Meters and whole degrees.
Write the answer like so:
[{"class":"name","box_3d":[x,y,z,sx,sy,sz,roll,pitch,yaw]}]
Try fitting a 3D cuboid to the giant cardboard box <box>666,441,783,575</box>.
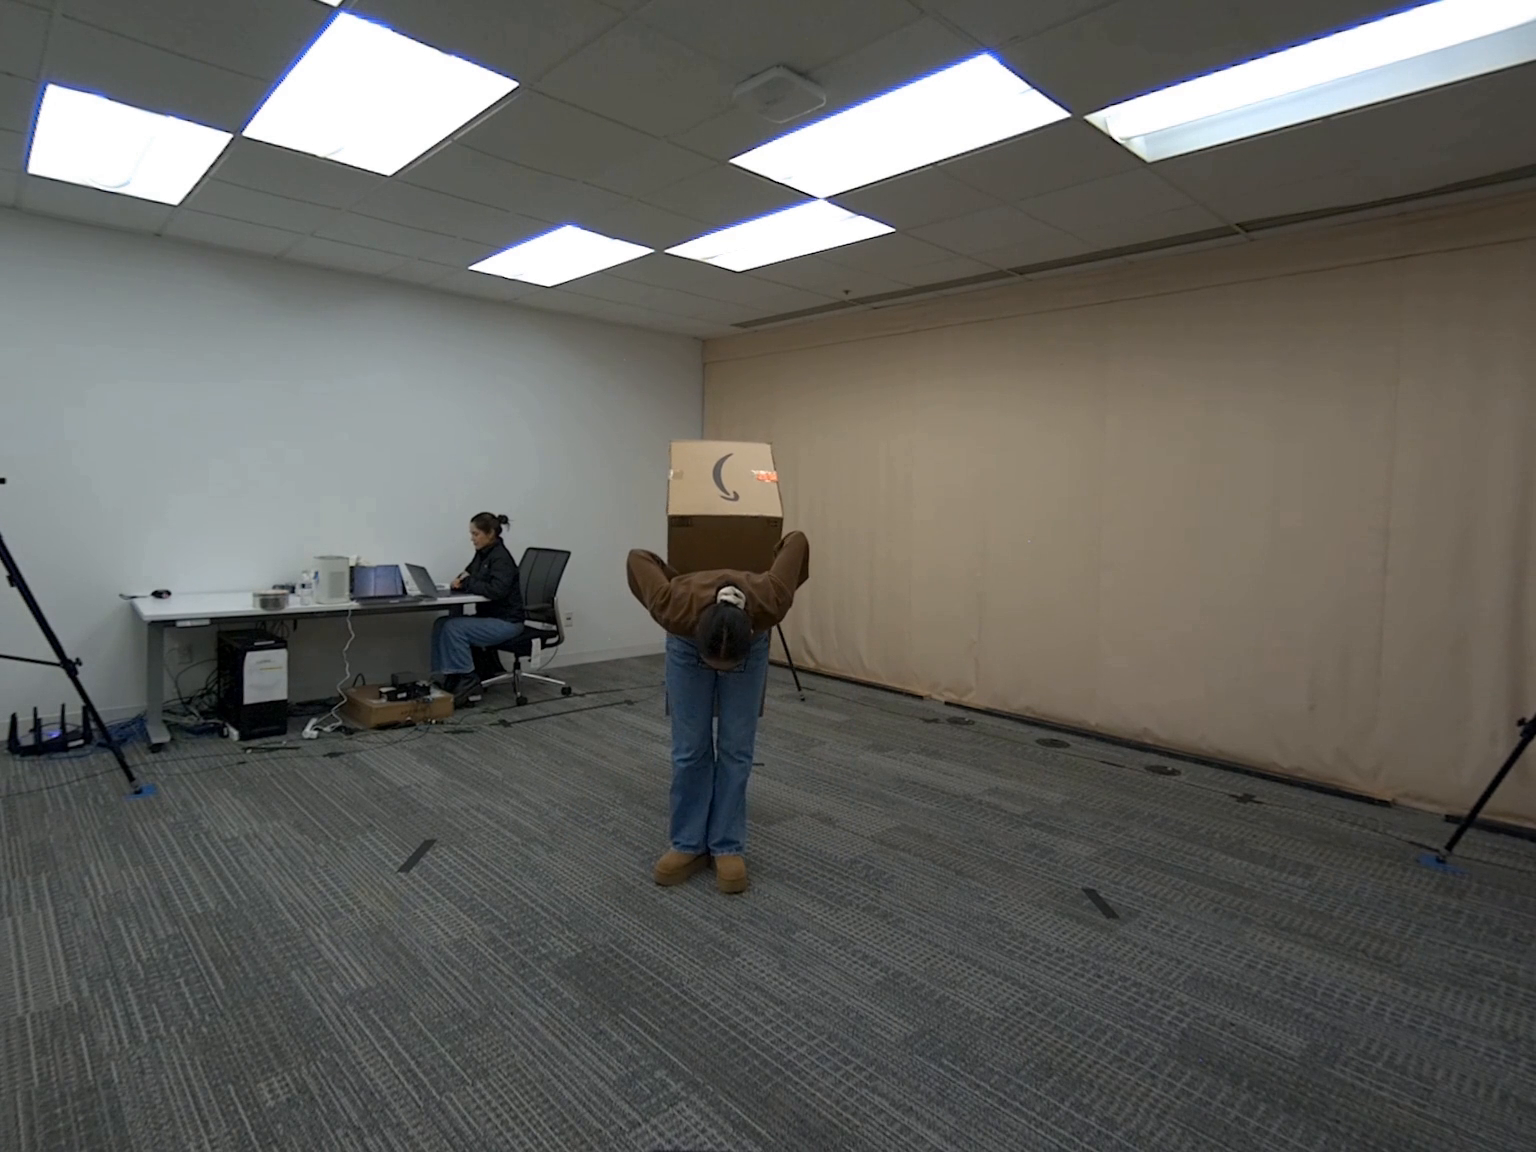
[{"class":"giant cardboard box","box_3d":[-0.214,0.027,3.543,0.445,1.007,0.598,0,35,-6]}]
